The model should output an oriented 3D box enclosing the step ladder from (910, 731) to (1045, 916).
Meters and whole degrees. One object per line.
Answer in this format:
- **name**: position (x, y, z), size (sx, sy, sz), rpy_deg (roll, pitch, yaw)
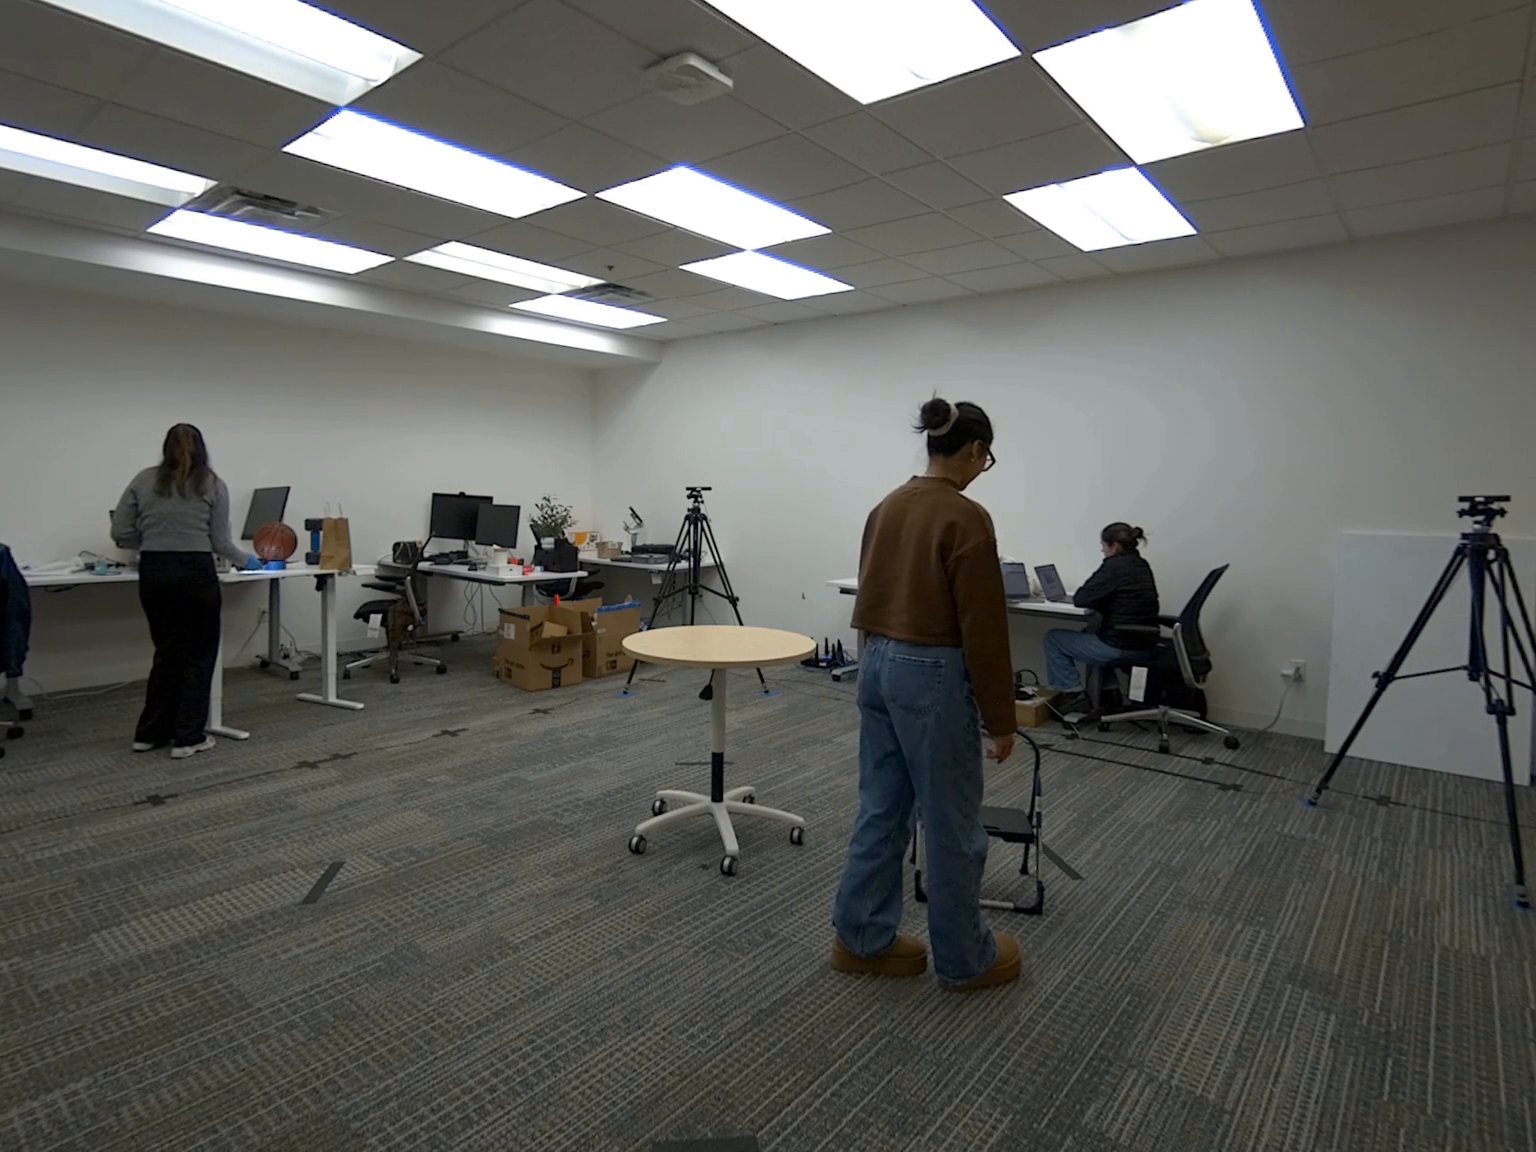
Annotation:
- **step ladder**: position (0.730, 0.794, 3.004), size (0.435, 0.604, 0.346), rpy_deg (2, 3, 9)
